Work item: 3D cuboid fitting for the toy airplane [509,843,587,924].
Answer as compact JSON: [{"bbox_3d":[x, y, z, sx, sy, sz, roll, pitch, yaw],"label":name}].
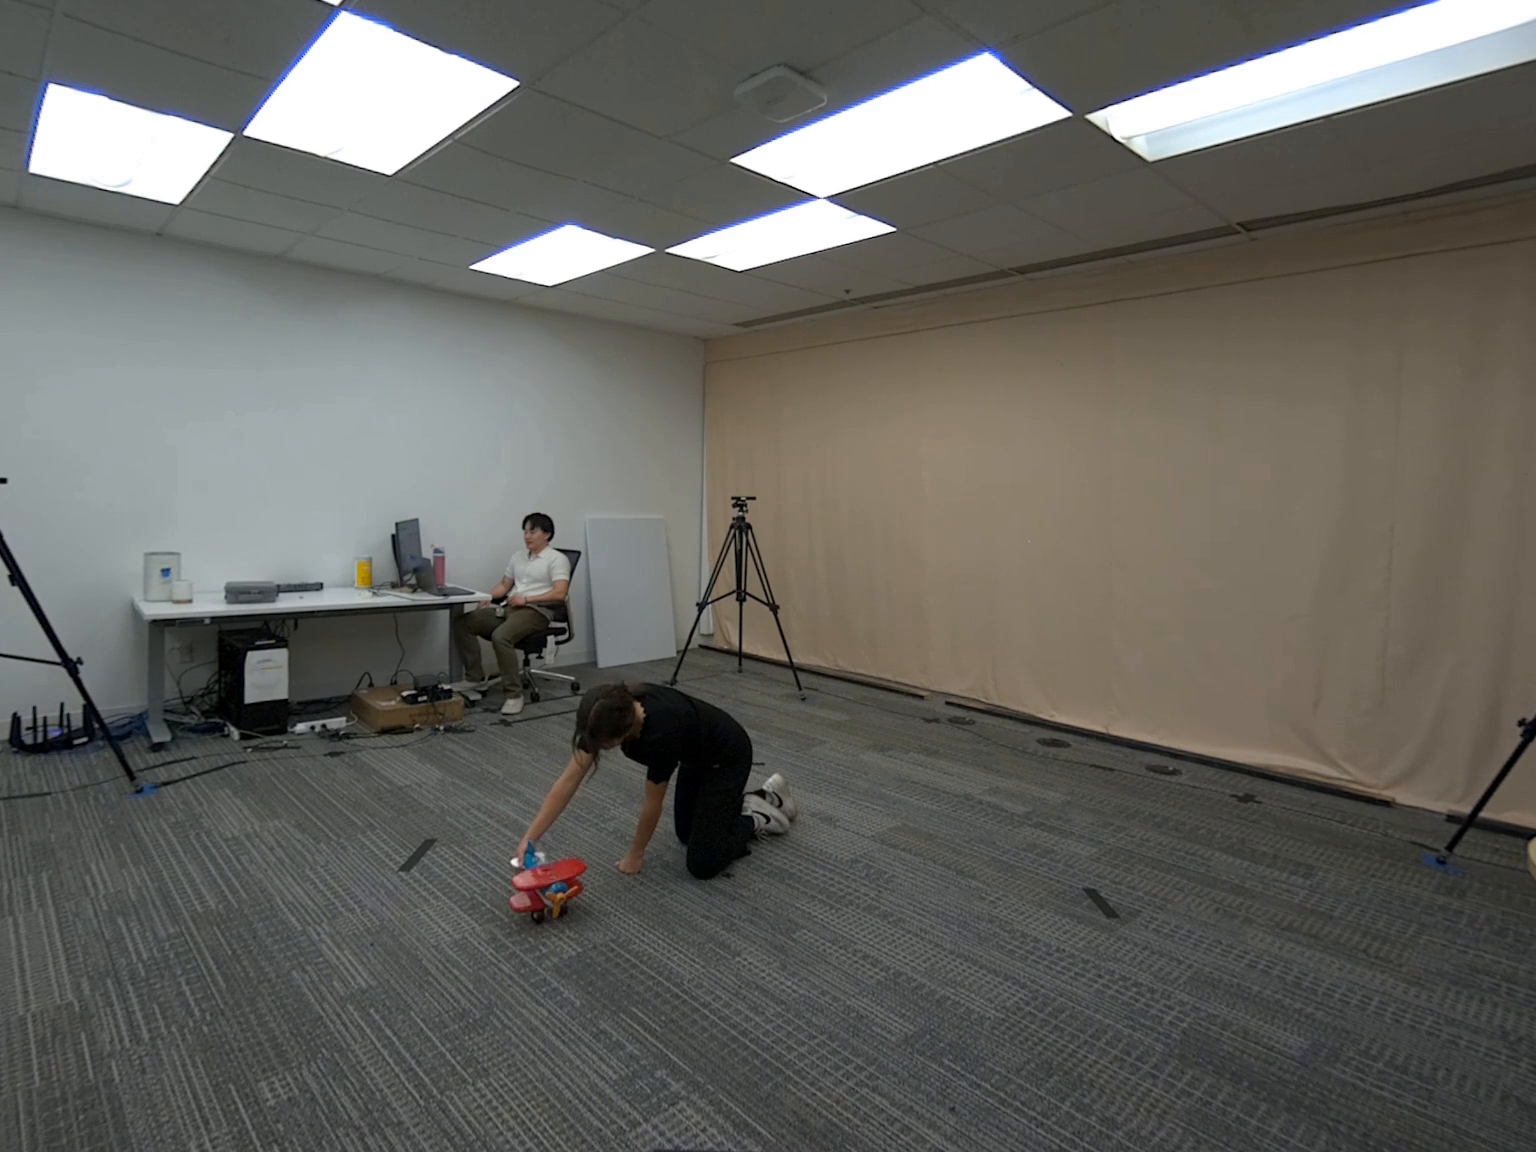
[{"bbox_3d":[-0.768,1.020,2.777,0.263,0.155,0.249,27,26,15],"label":"toy airplane"}]
